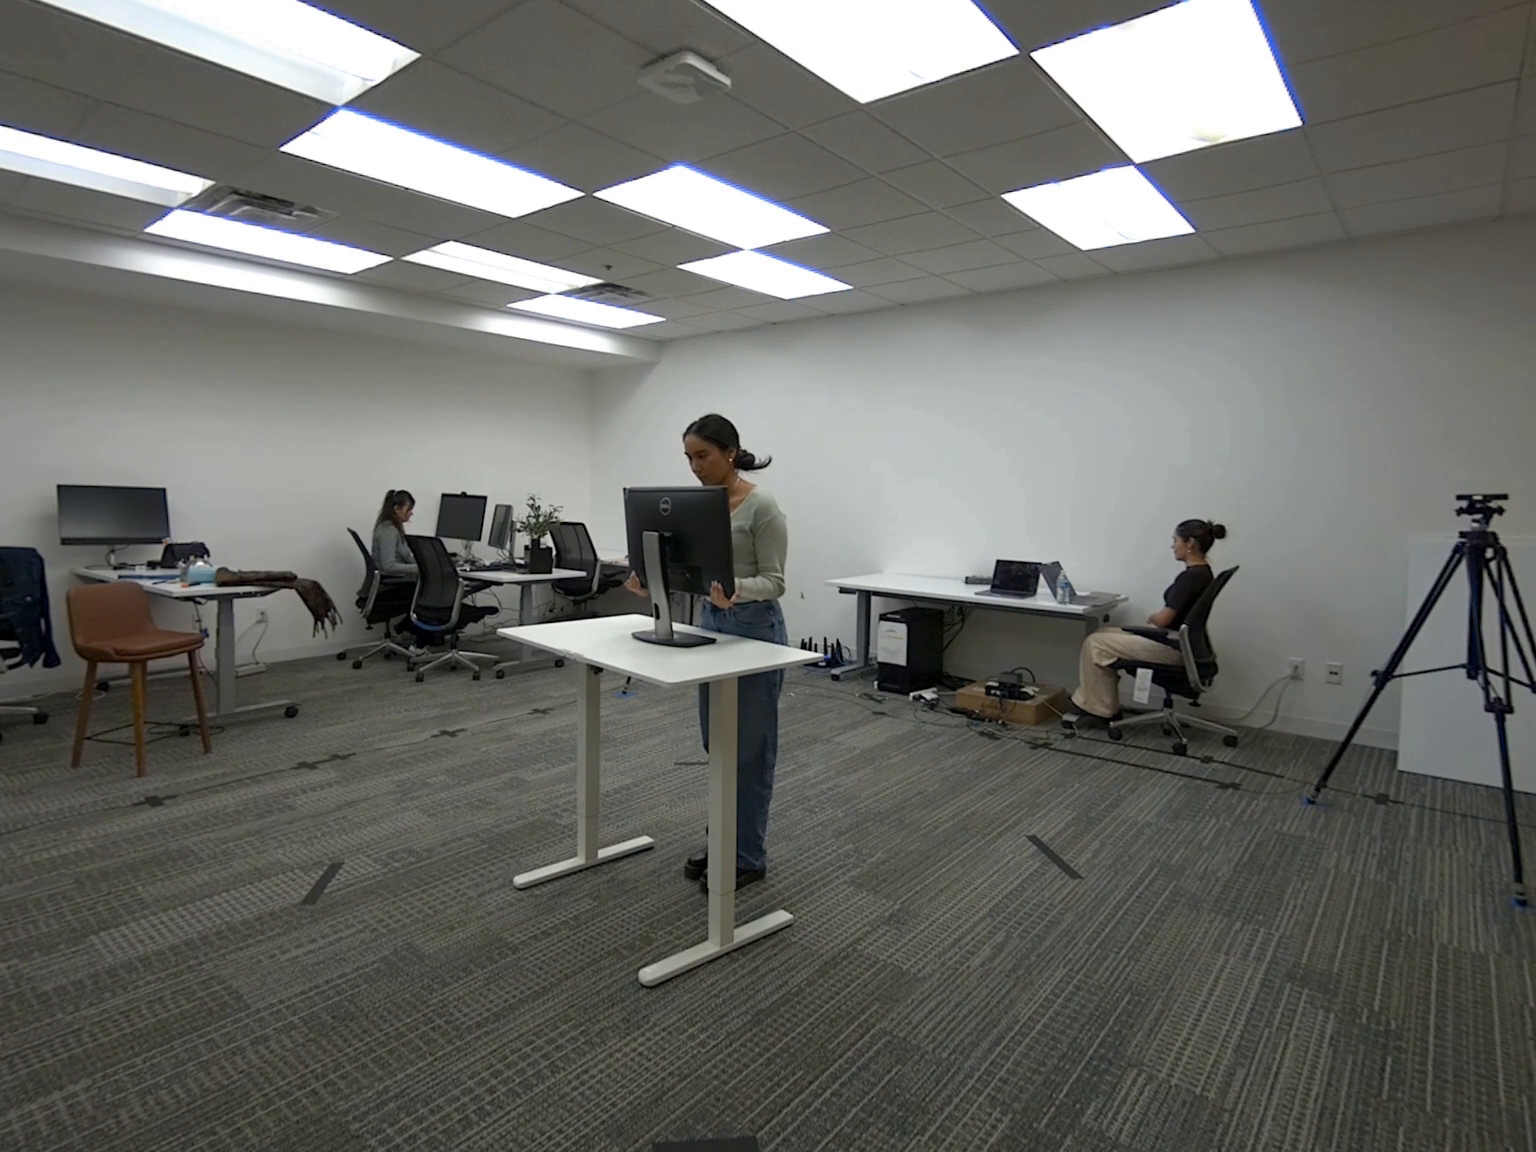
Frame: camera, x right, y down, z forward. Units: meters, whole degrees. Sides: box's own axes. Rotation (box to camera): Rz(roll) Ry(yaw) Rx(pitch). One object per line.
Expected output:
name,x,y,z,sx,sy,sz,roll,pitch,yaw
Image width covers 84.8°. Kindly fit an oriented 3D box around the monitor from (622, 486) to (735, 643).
monitor,-0.327,-0.035,2.803,0.558,0.522,0.181,5,3,44
